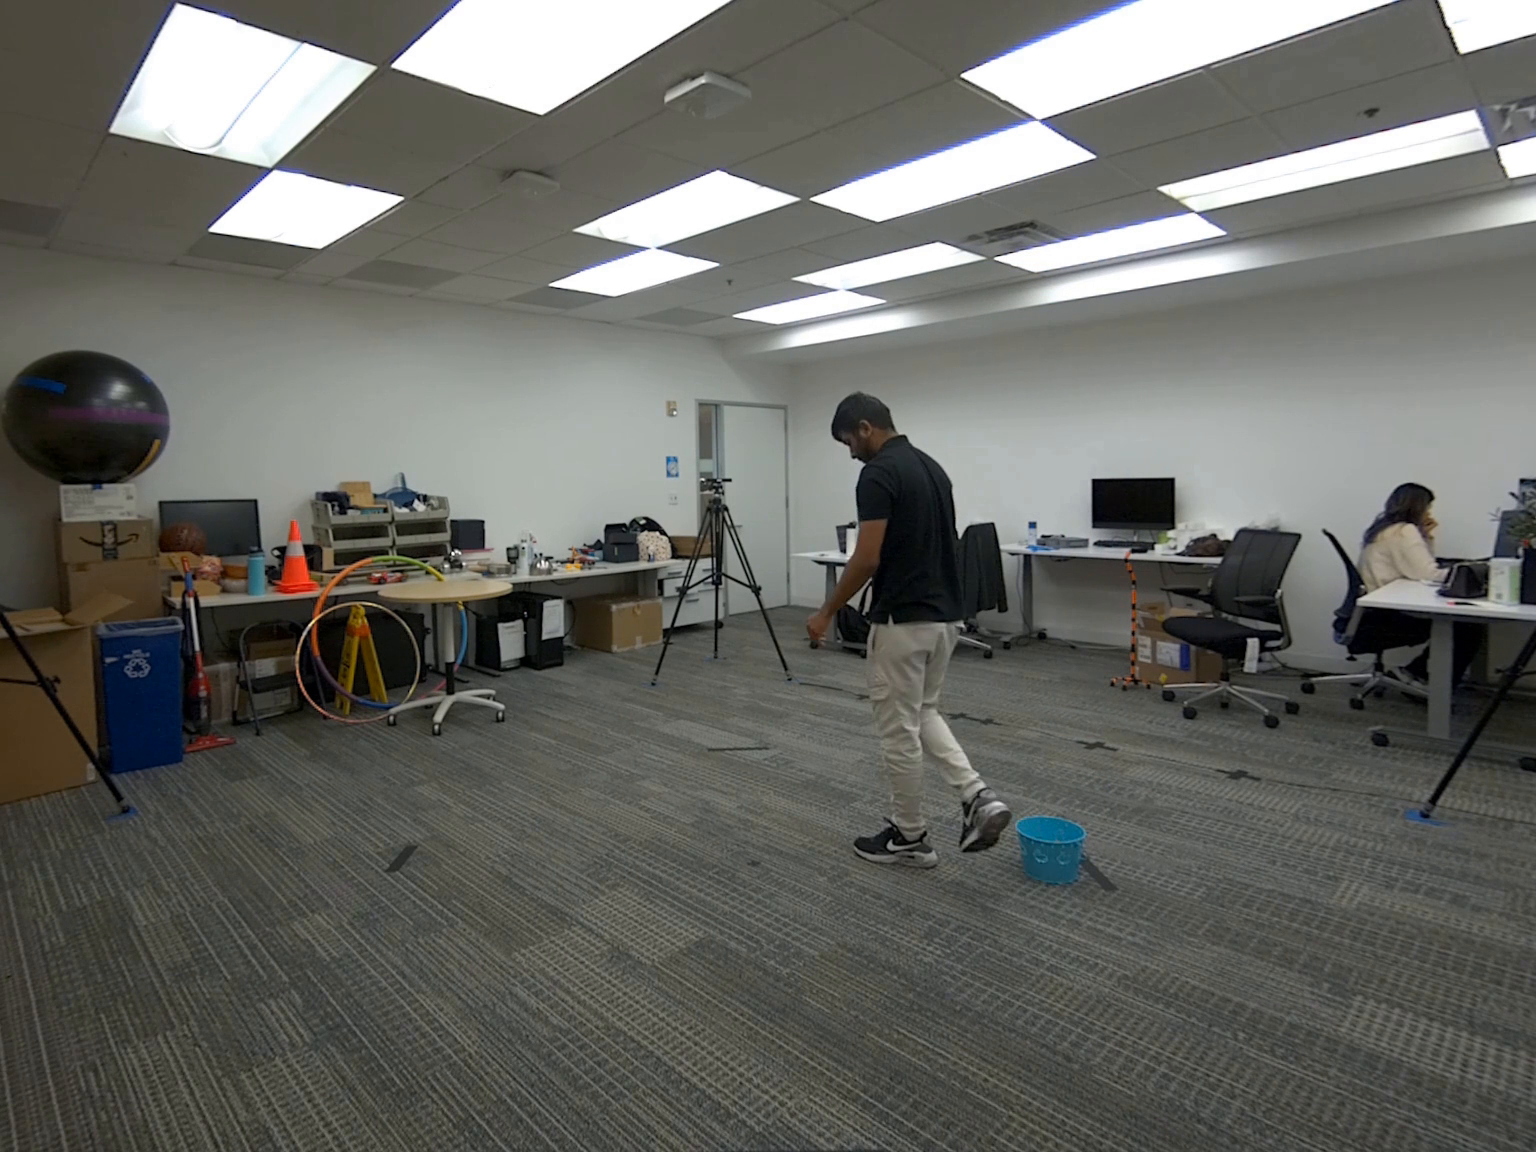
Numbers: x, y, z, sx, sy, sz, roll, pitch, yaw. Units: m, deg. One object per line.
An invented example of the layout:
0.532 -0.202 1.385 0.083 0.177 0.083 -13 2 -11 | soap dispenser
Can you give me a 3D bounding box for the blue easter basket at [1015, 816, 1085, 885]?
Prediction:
0.985 0.955 2.993 0.243 0.155 0.245 -2 5 -2 | blue easter basket
